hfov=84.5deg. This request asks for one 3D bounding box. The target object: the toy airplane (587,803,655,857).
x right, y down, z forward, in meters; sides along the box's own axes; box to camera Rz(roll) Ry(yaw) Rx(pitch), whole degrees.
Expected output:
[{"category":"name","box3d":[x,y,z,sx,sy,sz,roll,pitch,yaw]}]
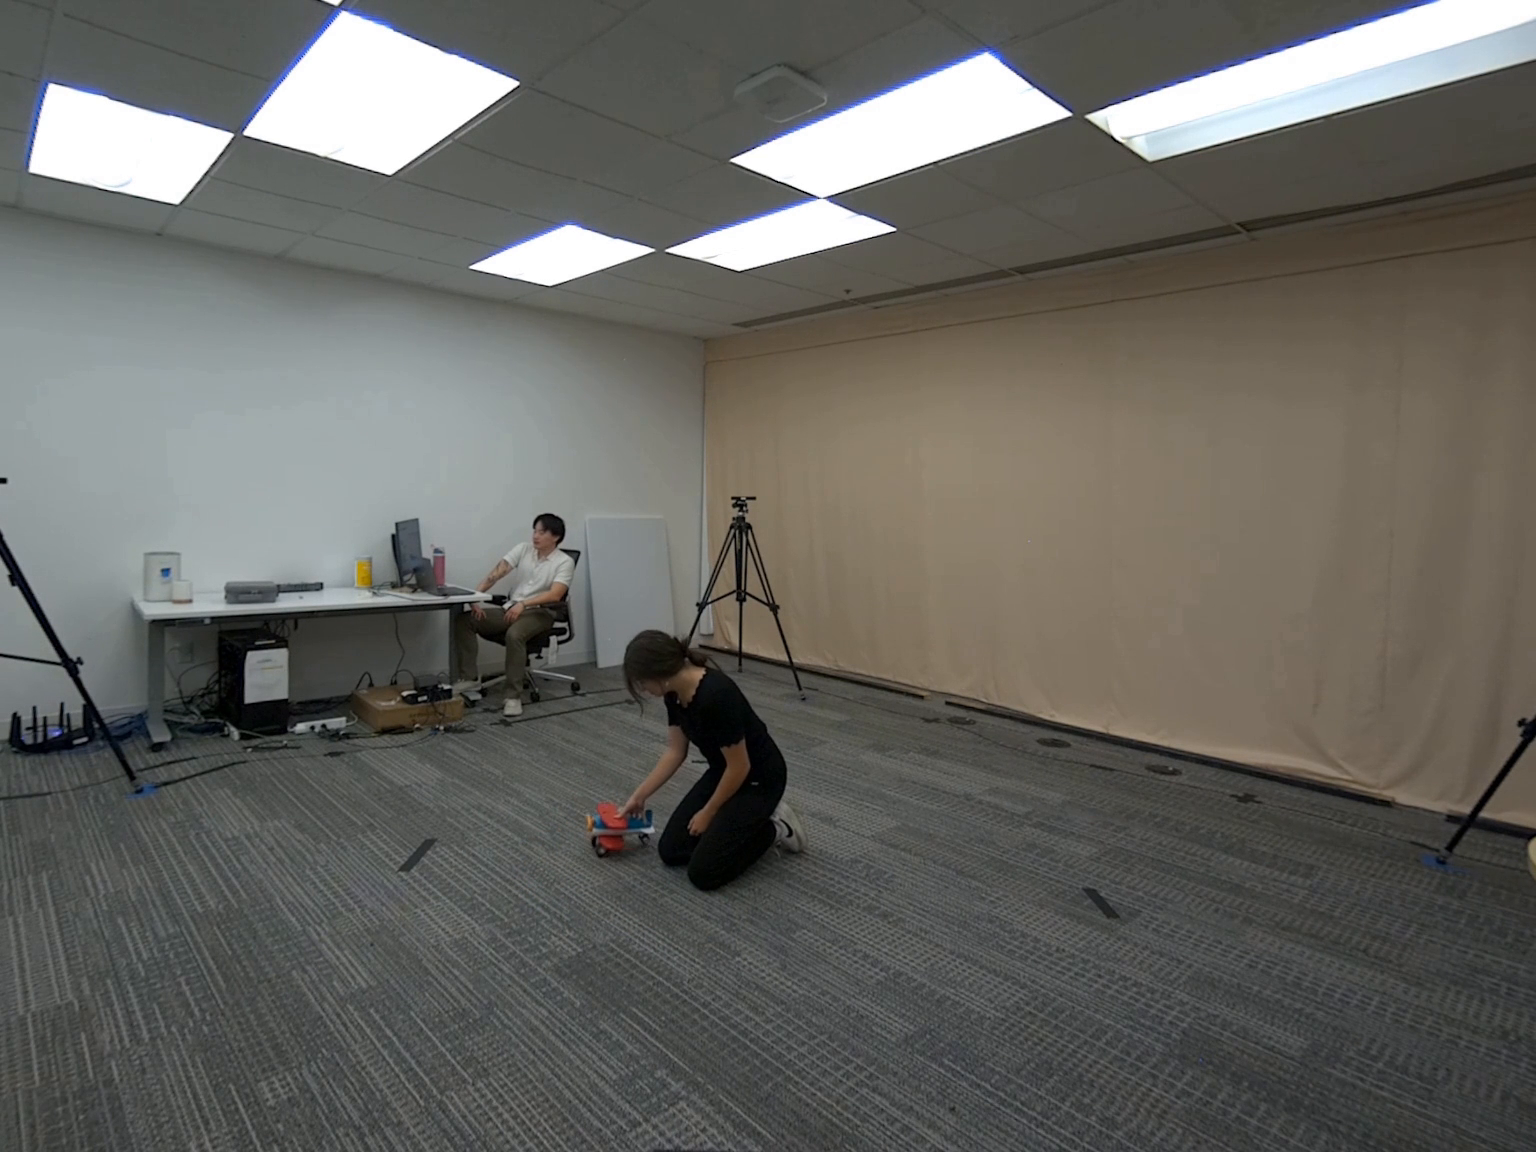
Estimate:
[{"category":"toy airplane","box3d":[-0.593,0.987,3.320,0.257,0.155,0.254,1,9,41]}]
